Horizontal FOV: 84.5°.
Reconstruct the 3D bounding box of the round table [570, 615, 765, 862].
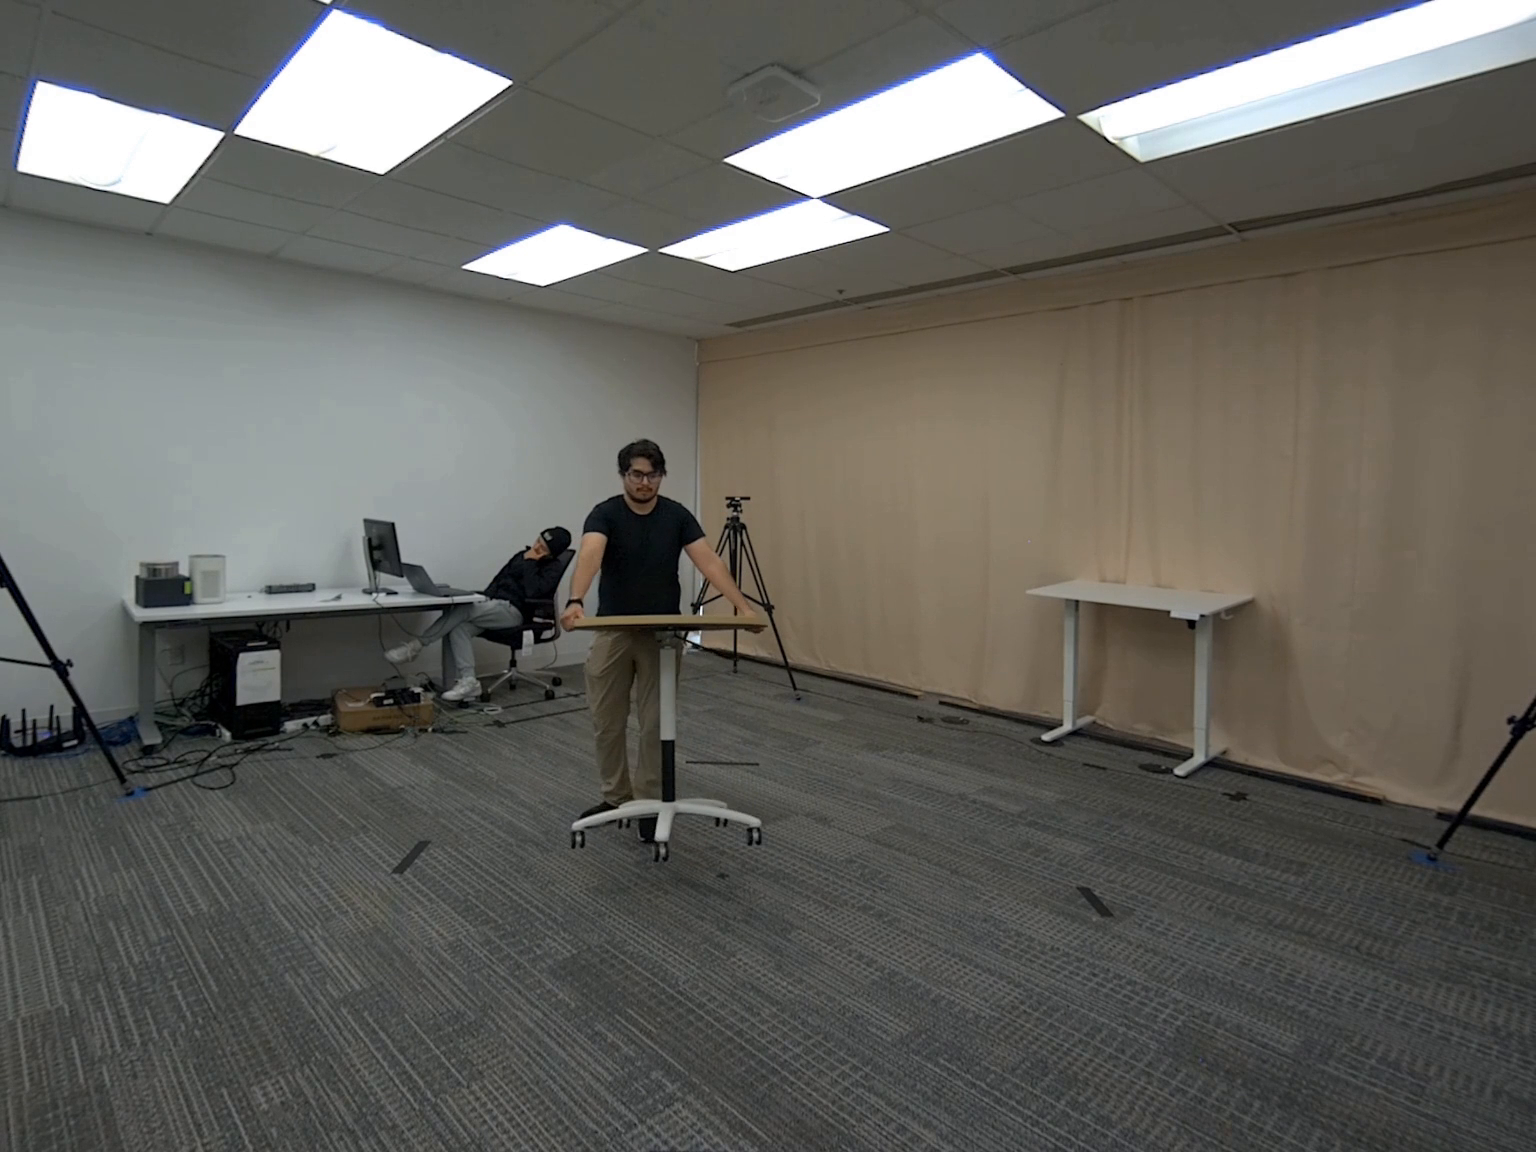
[{"bbox_3d":[-0.364,0.571,3.129,0.784,0.790,0.782,0,-6,-1],"label":"round table"}]
